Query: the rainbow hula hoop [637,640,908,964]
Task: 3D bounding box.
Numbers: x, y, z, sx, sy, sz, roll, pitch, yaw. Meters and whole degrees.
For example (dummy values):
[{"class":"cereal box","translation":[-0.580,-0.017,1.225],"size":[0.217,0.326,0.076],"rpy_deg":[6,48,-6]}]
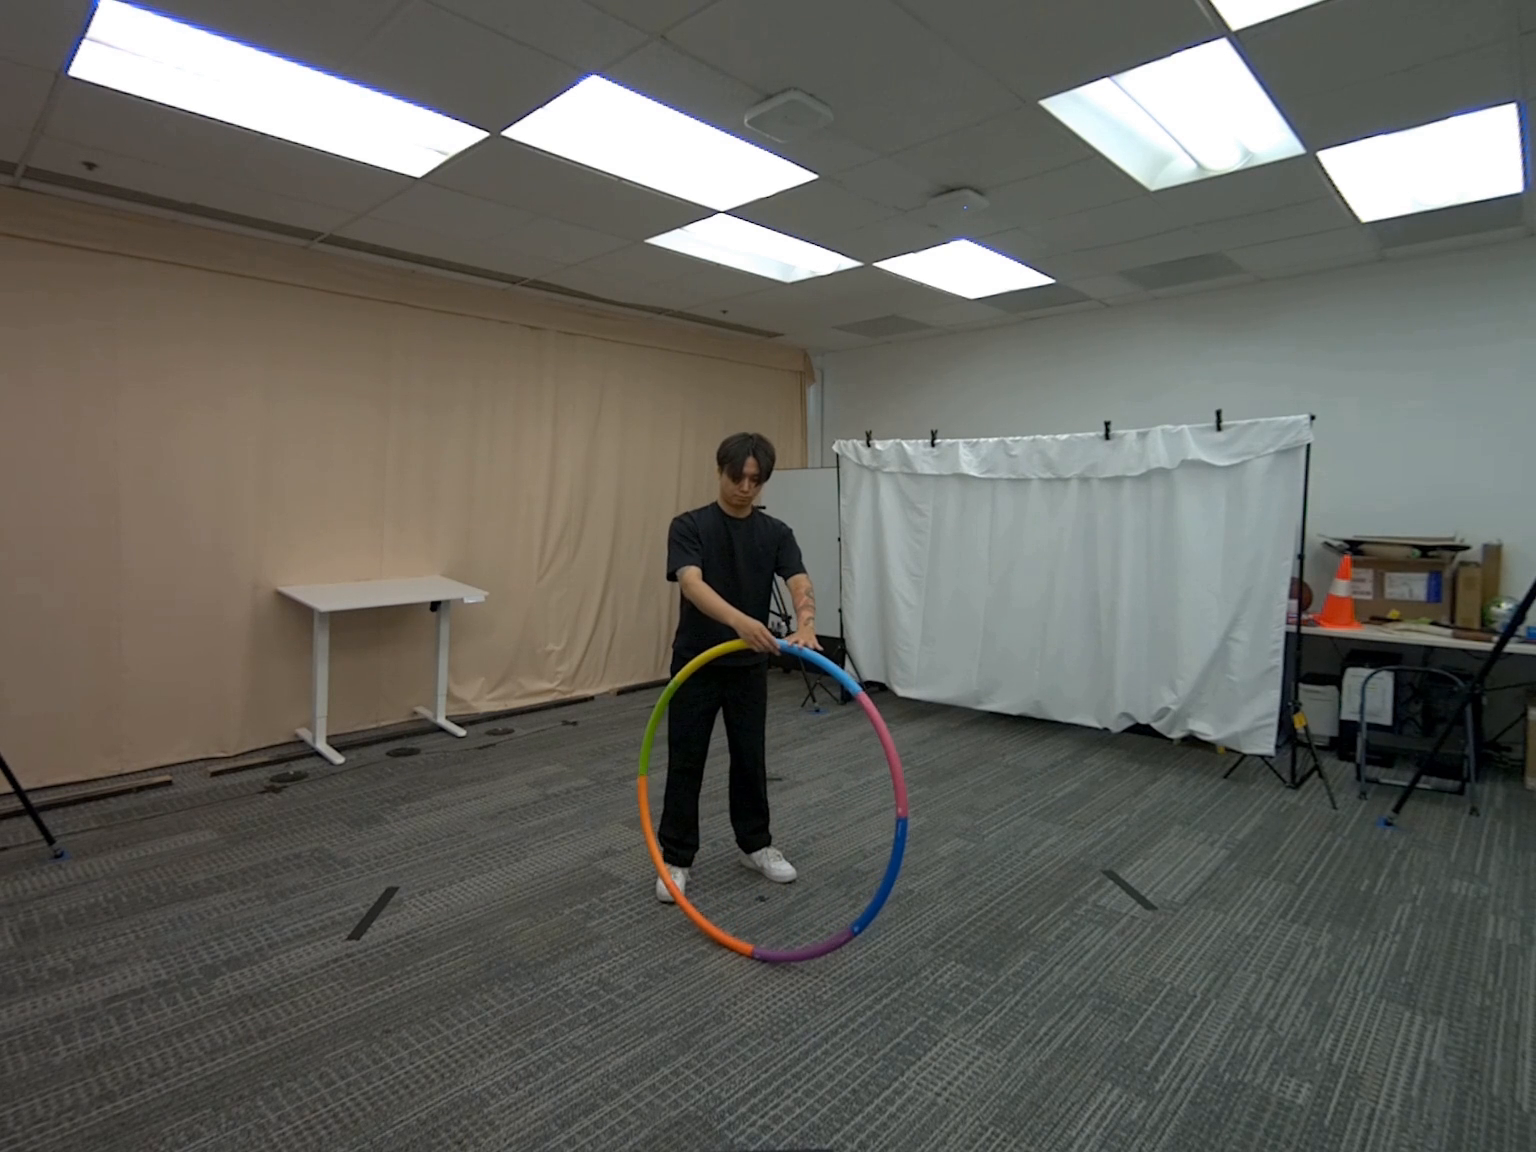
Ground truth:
[{"class":"rainbow hula hoop","translation":[-0.028,0.692,2.644],"size":[1.009,0.981,0.034],"rpy_deg":[2,-5,34]}]
